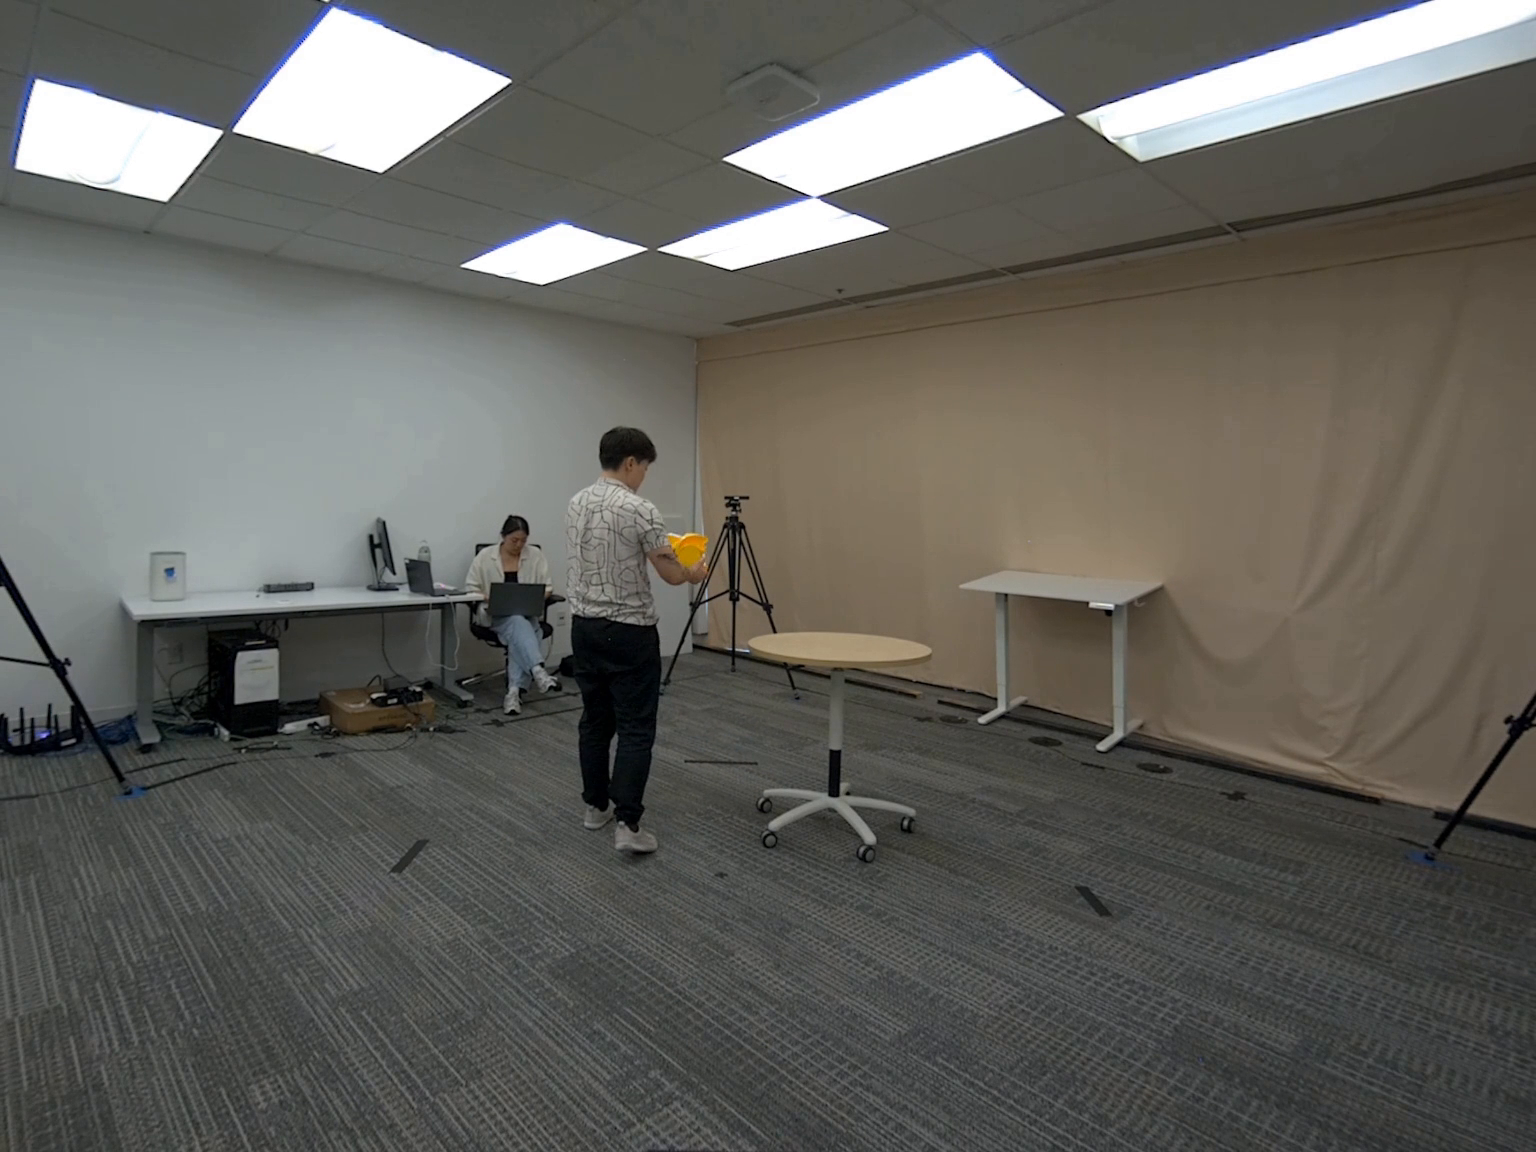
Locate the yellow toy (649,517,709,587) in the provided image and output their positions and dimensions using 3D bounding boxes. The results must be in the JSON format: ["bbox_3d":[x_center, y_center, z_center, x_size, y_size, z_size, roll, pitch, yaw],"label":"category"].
[{"bbox_3d":[-0.409,-0.111,3.696,0.190,0.202,0.238,-15,27,-35],"label":"yellow toy"}]
